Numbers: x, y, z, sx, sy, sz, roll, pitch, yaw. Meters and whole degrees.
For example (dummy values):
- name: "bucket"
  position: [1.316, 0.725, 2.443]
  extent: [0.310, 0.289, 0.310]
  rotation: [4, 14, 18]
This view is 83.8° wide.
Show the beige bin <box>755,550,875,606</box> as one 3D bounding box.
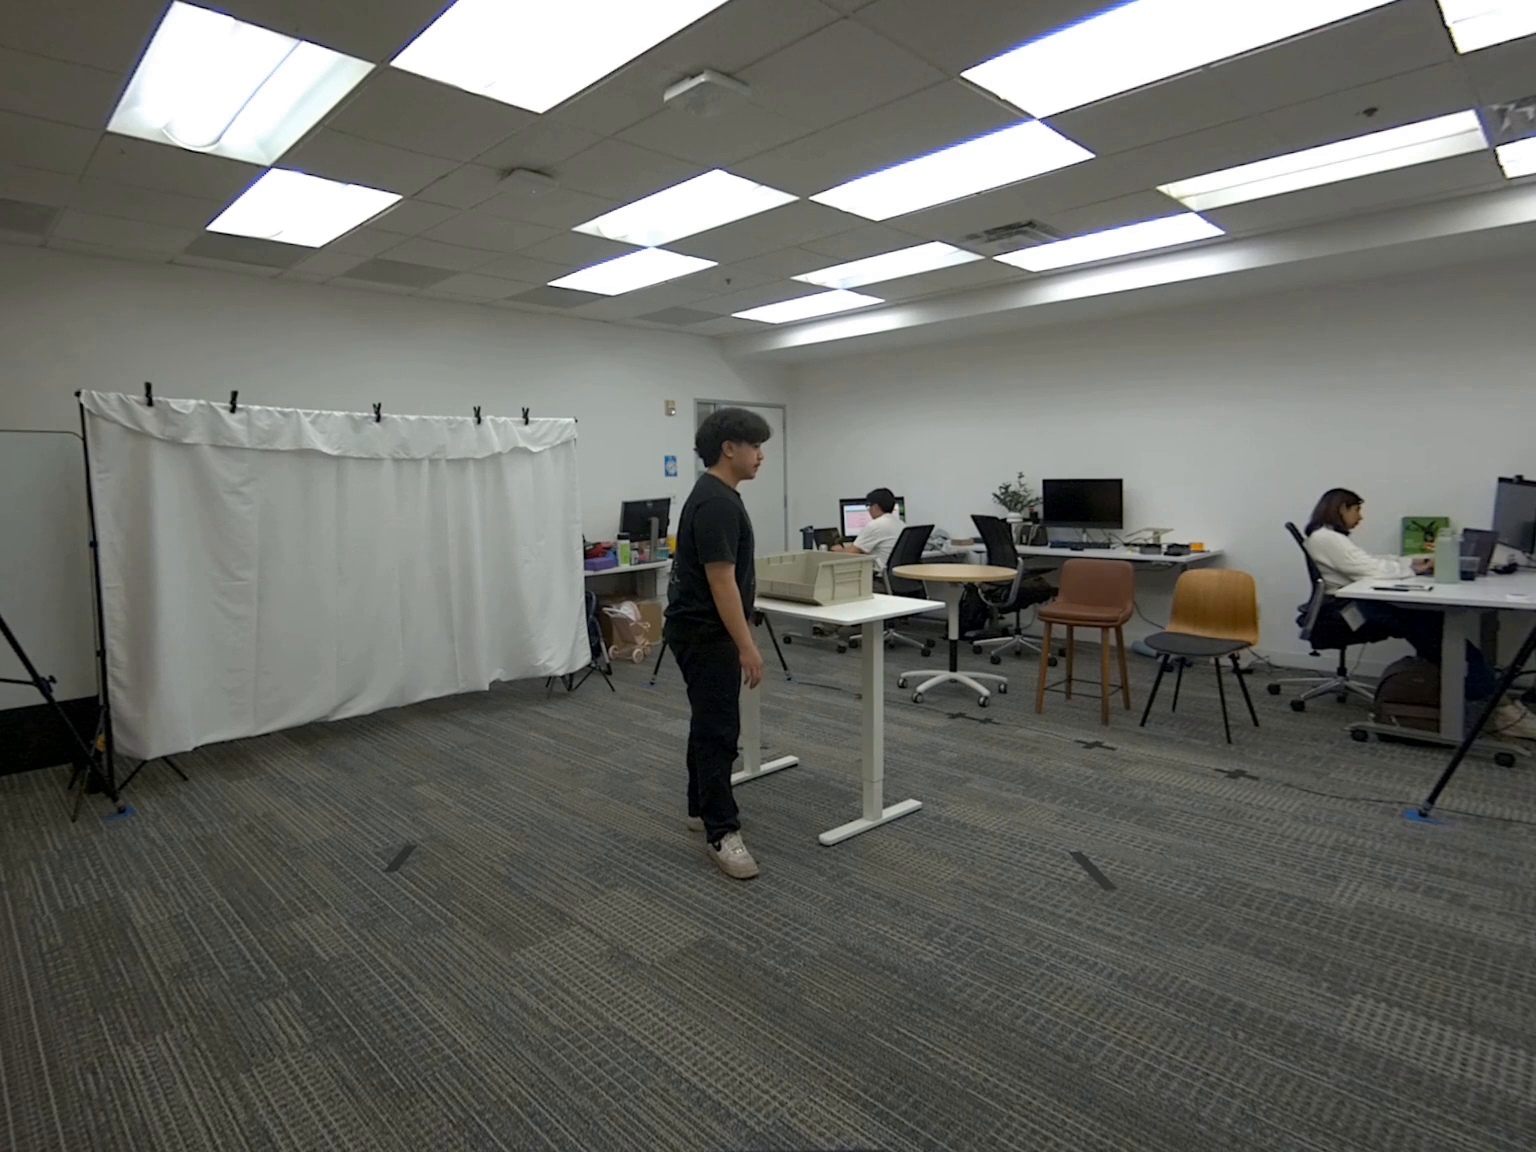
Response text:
- name: "beige bin"
  position: [0.186, 0.006, 3.647]
  extent: [0.367, 0.188, 0.435]
  rotation: [-6, 8, -41]
